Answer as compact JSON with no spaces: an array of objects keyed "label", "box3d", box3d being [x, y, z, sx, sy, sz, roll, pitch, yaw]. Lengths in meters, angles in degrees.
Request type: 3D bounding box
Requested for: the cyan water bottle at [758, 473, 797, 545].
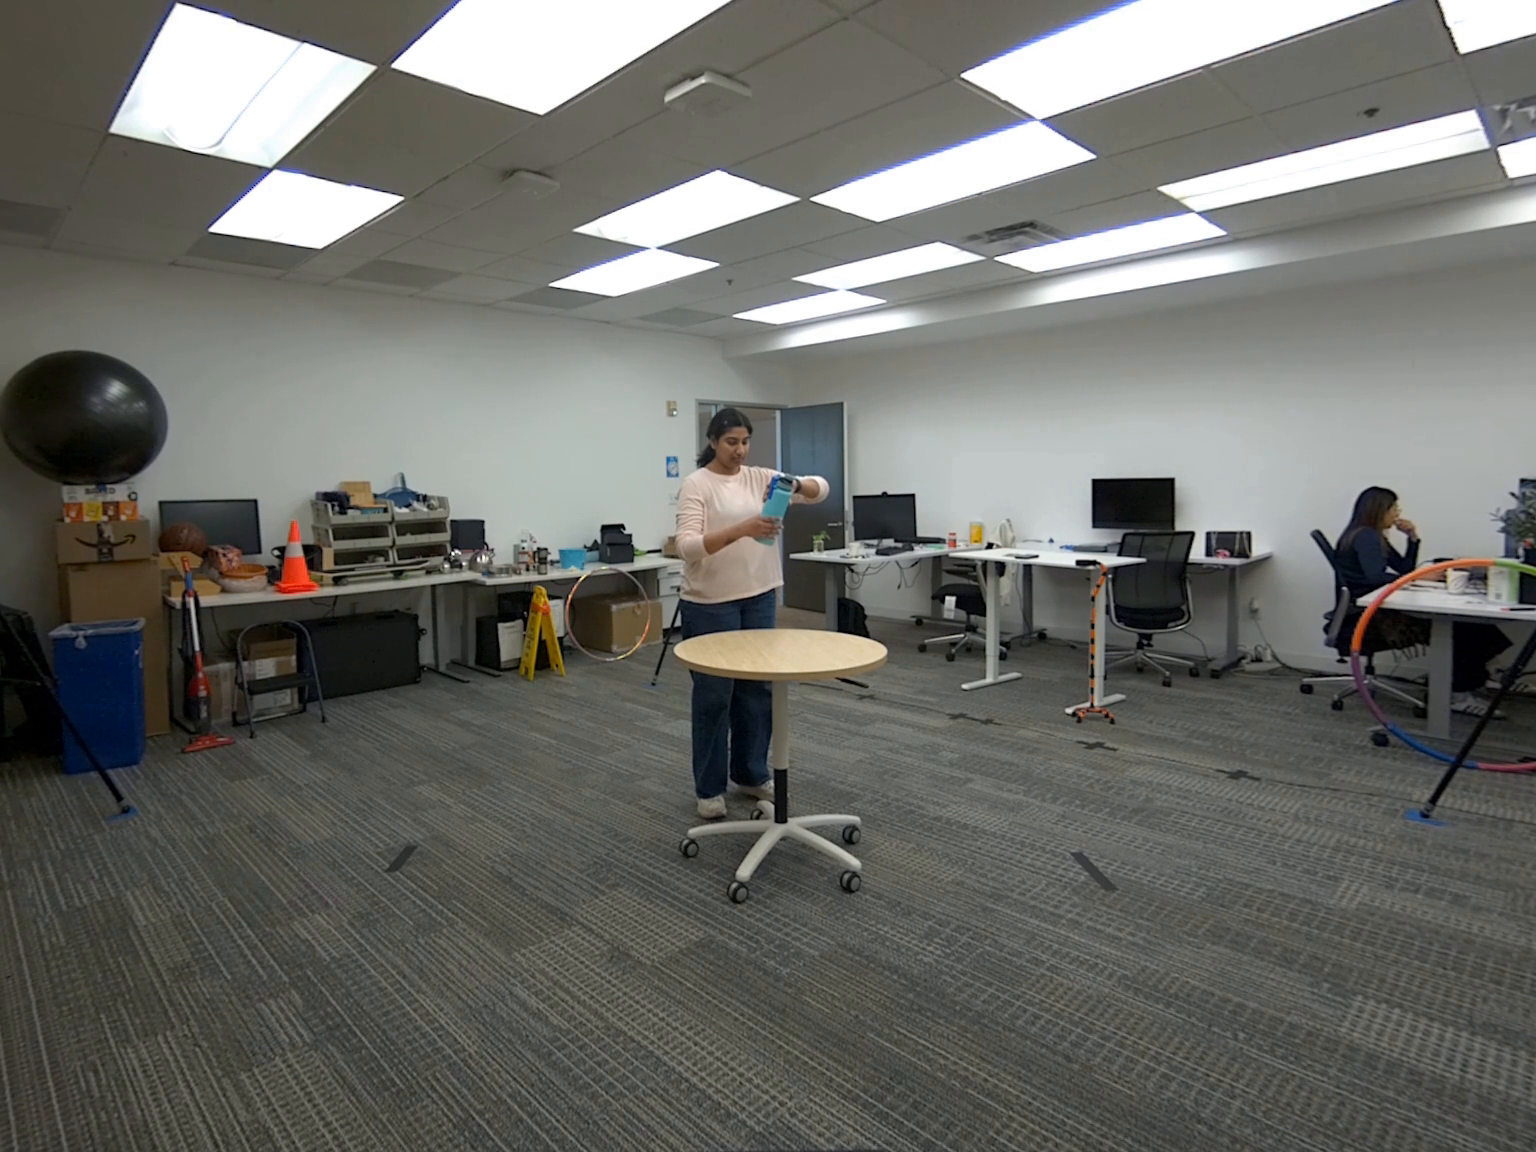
[{"label":"cyan water bottle","box3d":[0.029,-0.265,3.338,0.092,0.280,0.094,13,16,-6]}]
